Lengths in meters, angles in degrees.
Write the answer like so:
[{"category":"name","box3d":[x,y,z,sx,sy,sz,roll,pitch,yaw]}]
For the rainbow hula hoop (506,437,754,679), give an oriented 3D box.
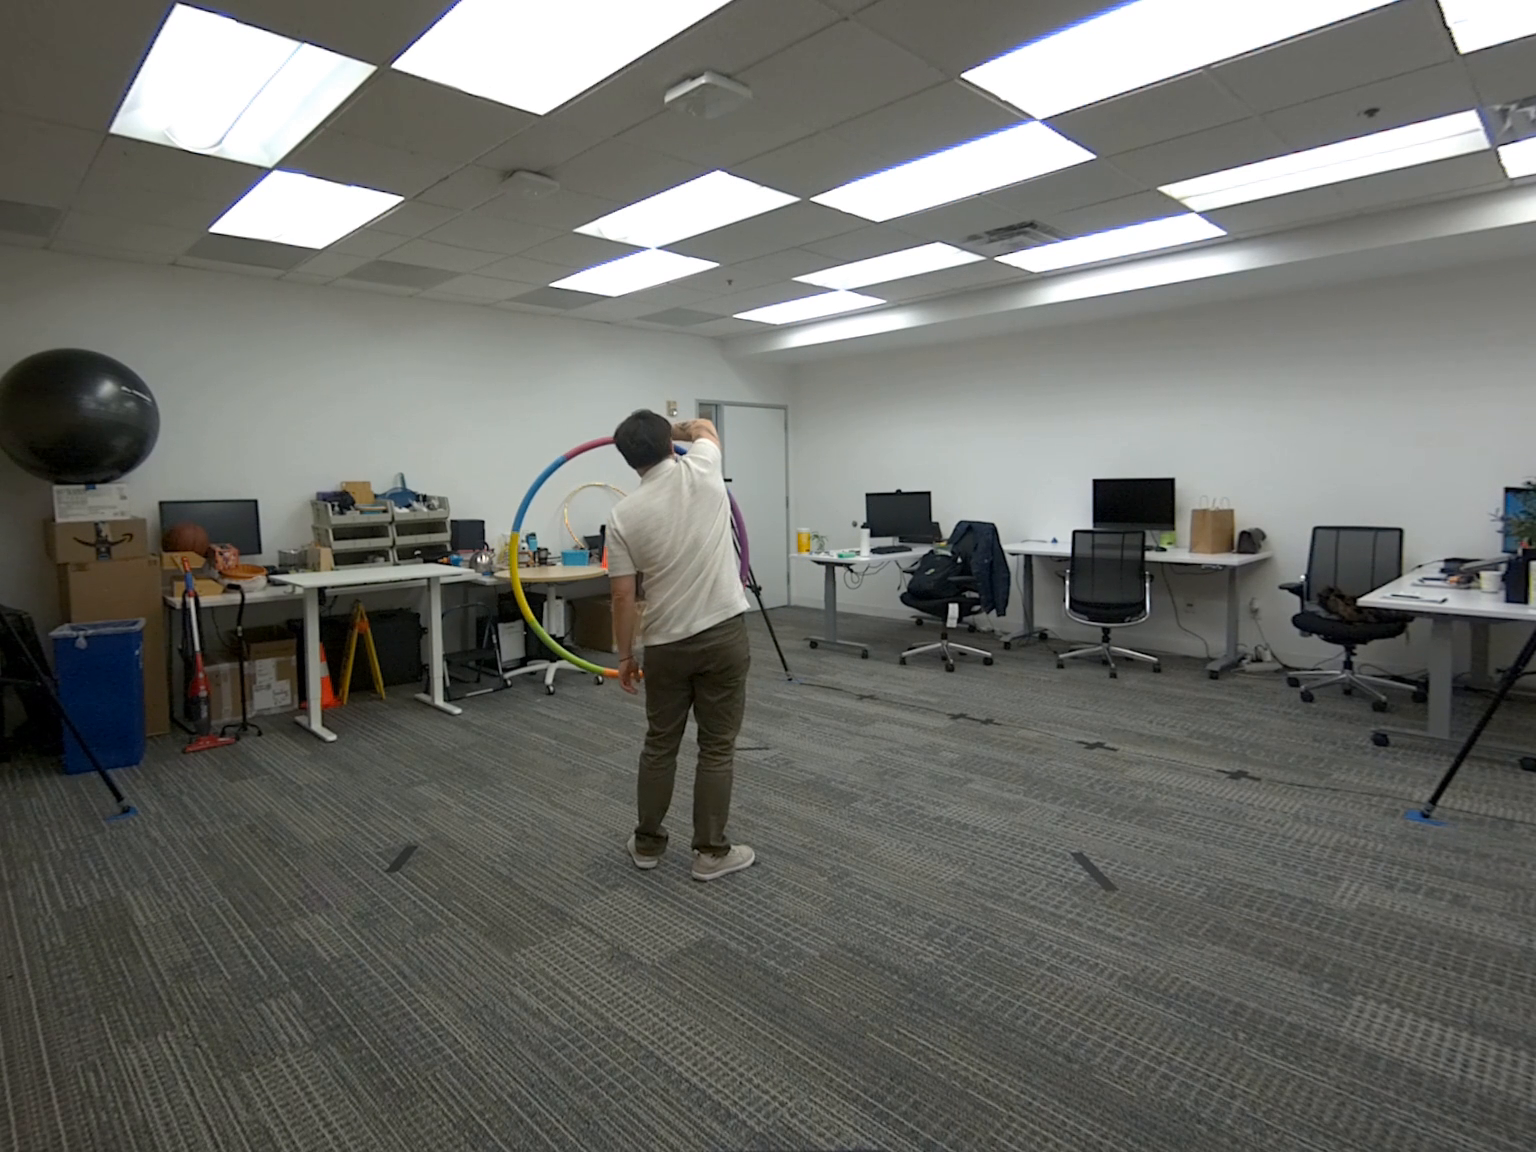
[{"category":"rainbow hula hoop","box3d":[-0.565,-0.076,3.475,0.978,0.976,0.035,-1,2,0]}]
